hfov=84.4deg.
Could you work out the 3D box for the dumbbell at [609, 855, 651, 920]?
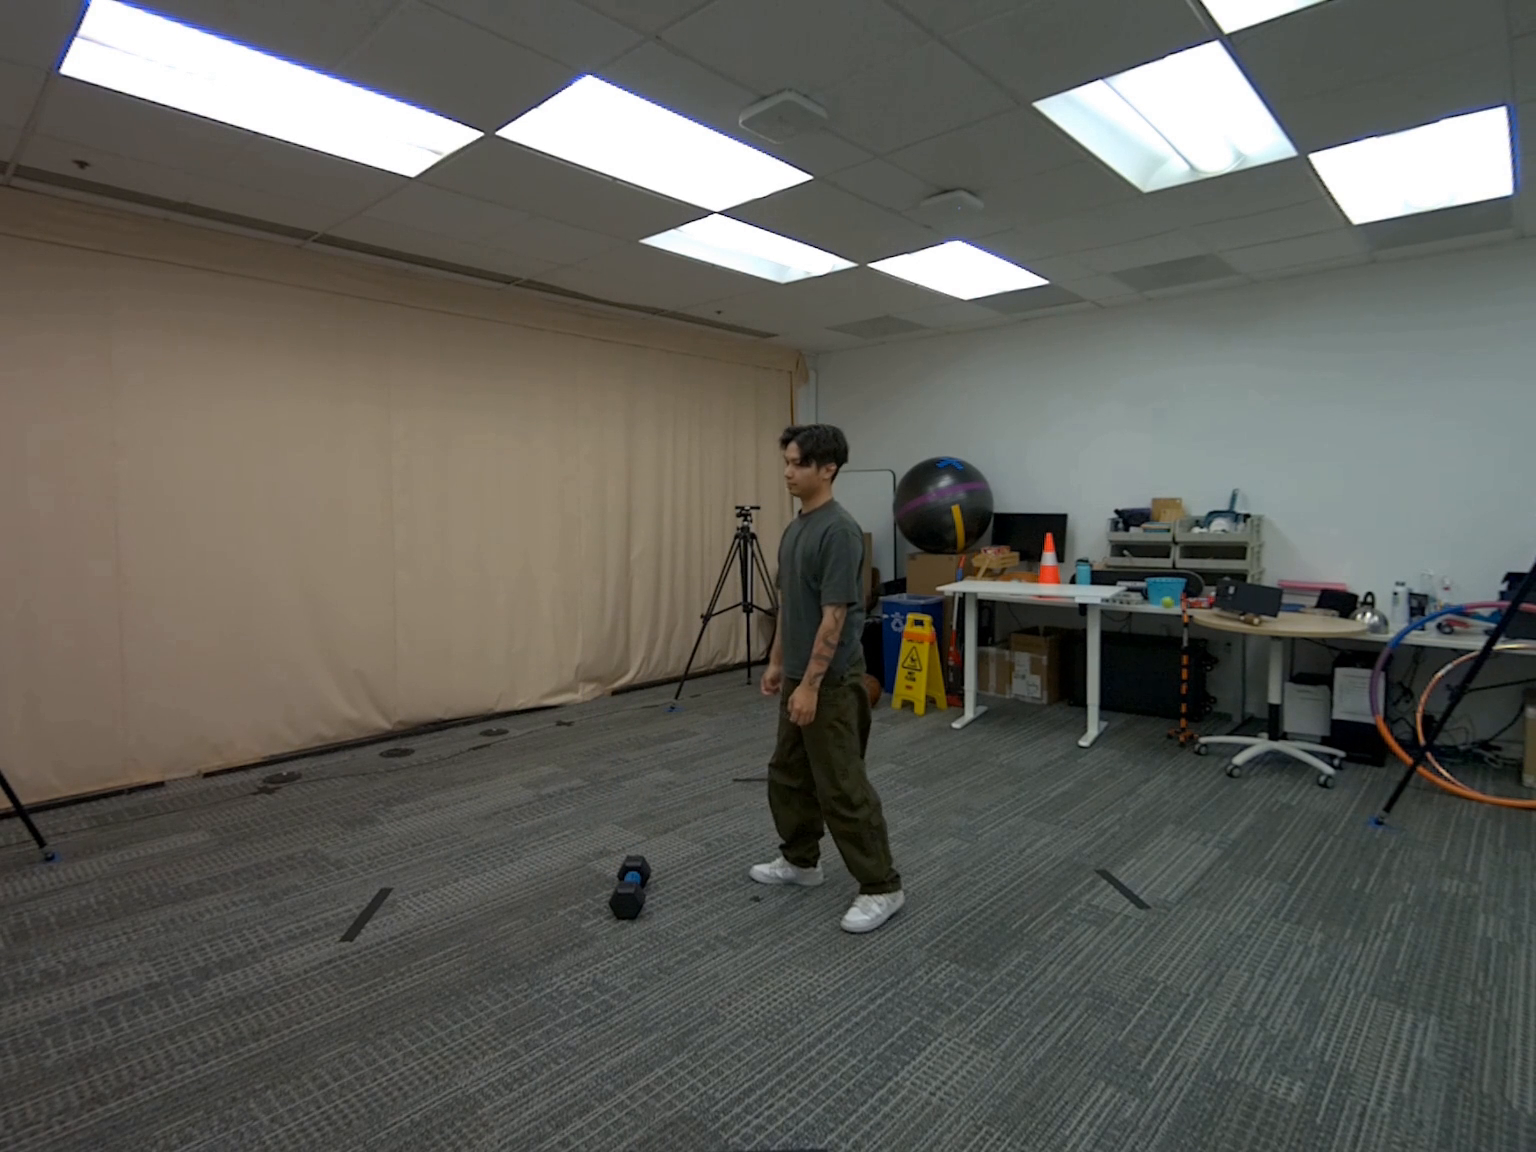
[{"bbox_3d":[-0.481,1.102,2.971,0.109,0.122,0.294,-30,5,0],"label":"dumbbell"}]
